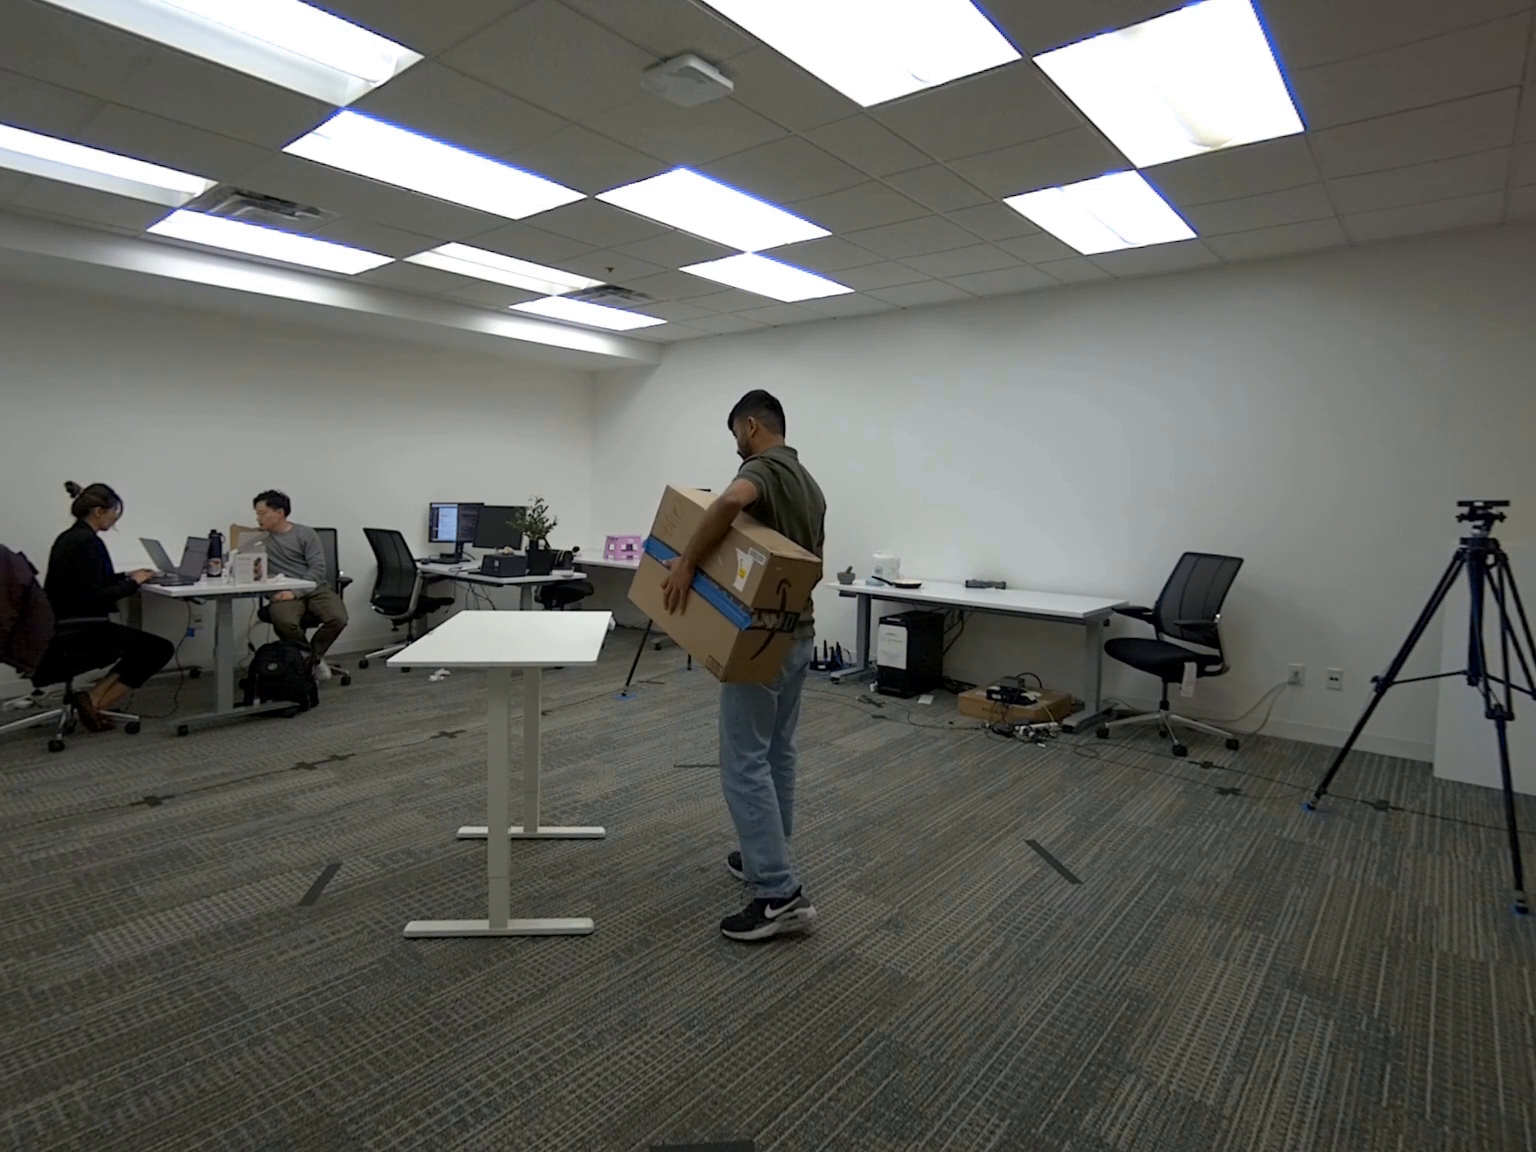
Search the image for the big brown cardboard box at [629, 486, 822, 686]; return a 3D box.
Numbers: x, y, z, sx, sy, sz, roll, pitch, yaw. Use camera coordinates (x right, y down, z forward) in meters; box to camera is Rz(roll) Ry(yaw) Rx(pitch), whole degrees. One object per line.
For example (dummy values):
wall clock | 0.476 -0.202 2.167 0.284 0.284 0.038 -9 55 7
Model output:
big brown cardboard box | -0.164 0.016 2.673 0.225 0.414 0.614 9 18 -42
